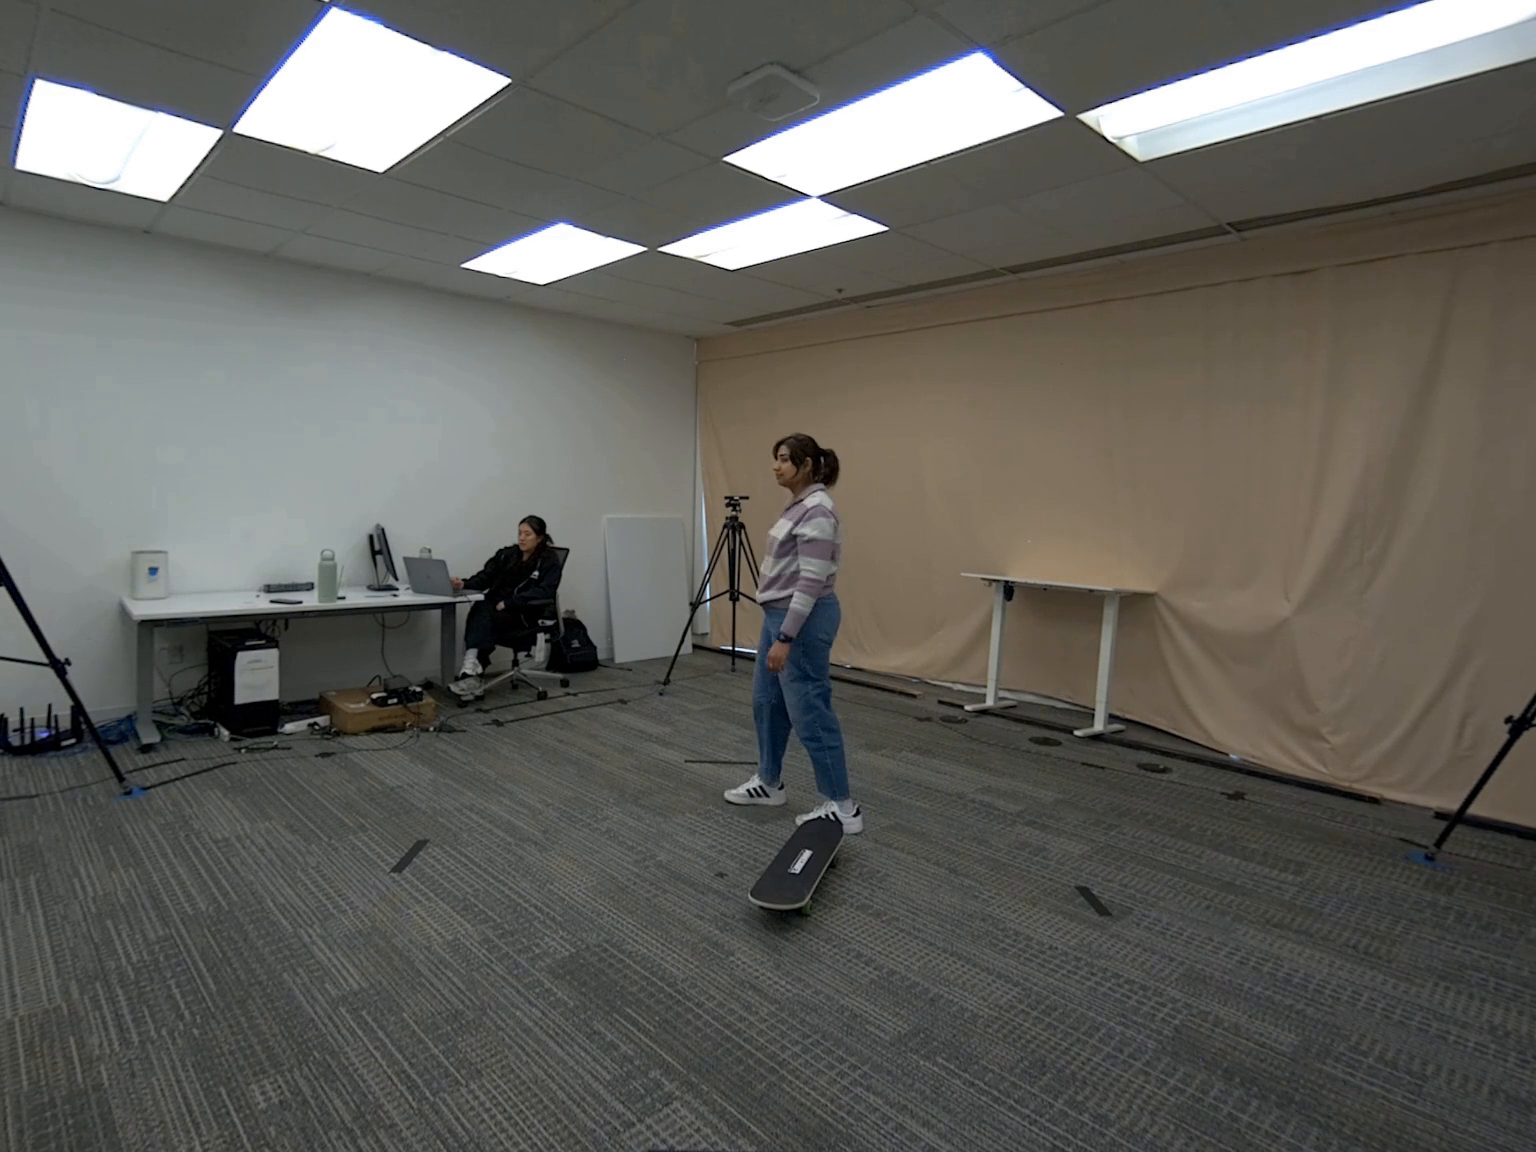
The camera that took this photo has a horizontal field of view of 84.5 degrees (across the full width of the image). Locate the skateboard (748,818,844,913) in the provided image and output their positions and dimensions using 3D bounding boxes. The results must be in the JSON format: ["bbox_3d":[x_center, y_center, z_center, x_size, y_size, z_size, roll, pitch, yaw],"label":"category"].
[{"bbox_3d":[0.107,1.057,3.029,0.196,0.110,0.776,2,5,17],"label":"skateboard"}]
